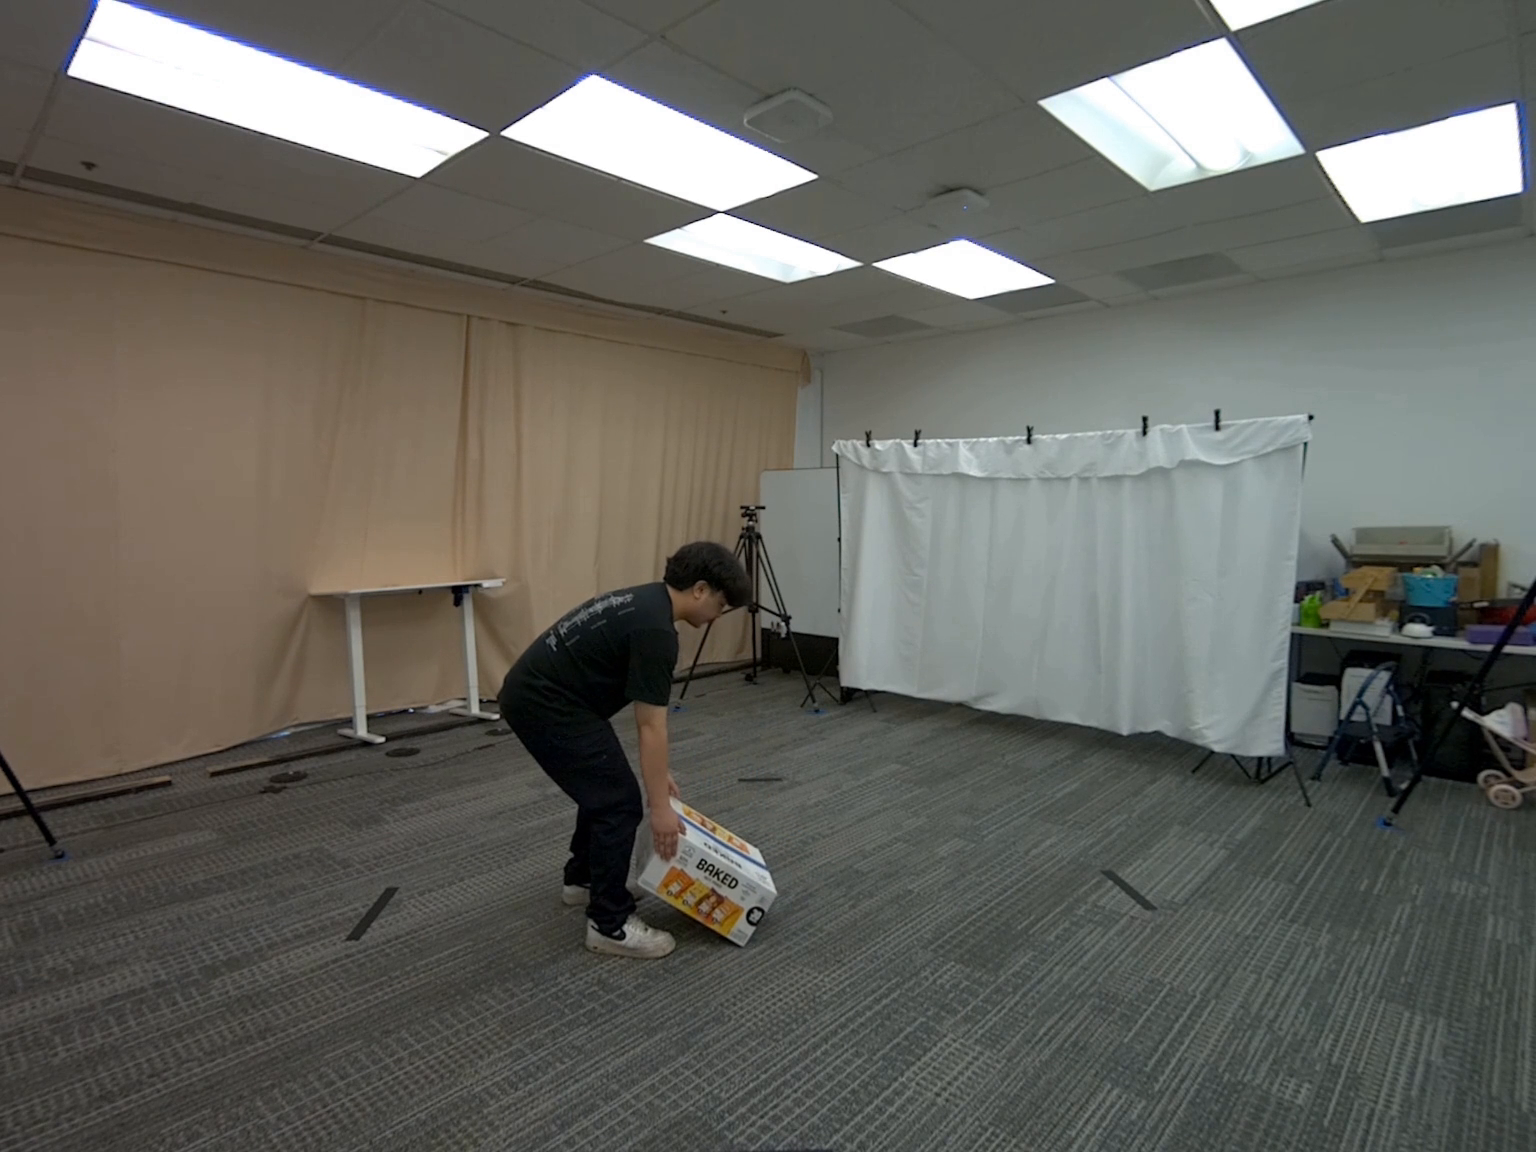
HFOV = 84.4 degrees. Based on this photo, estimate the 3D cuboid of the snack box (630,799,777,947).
[{"bbox_3d":[-0.215,0.966,2.796,0.400,0.205,0.344,33,-2,-10],"label":"snack box"}]
